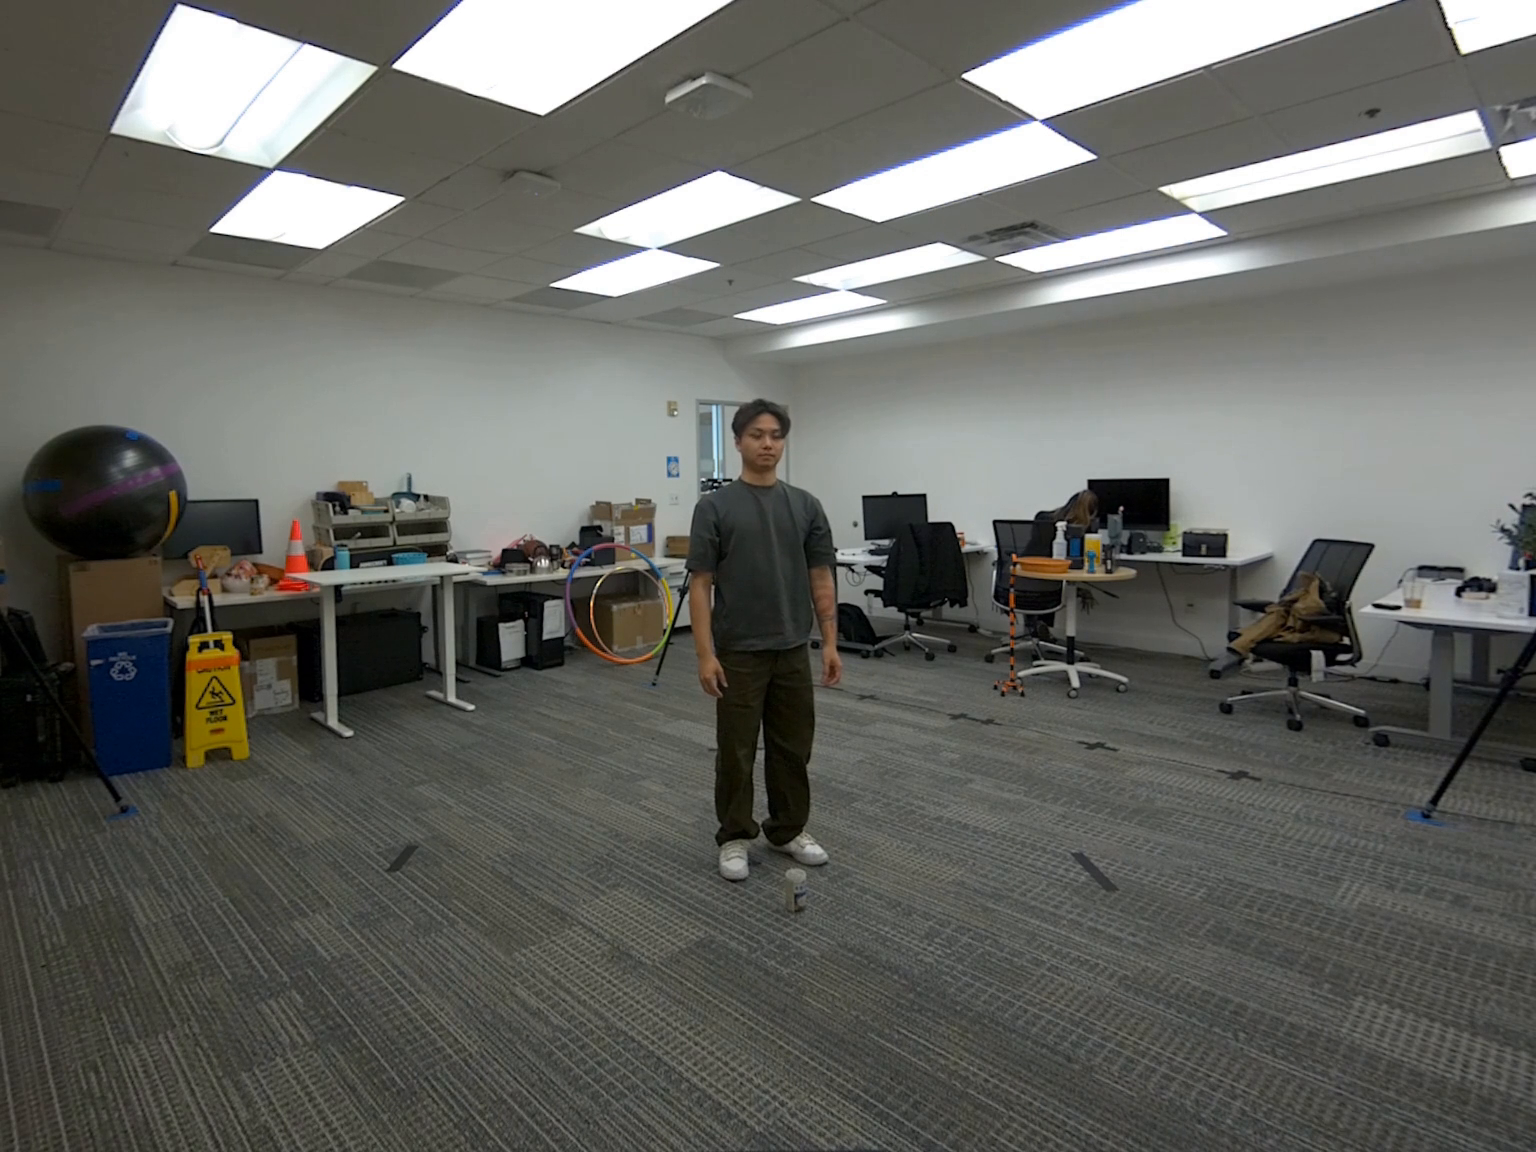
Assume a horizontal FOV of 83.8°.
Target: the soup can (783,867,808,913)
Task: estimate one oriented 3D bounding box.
[{"bbox_3d":[0.091,1.029,2.772,0.067,0.121,0.067,-1,4,-2],"label":"soup can"}]
